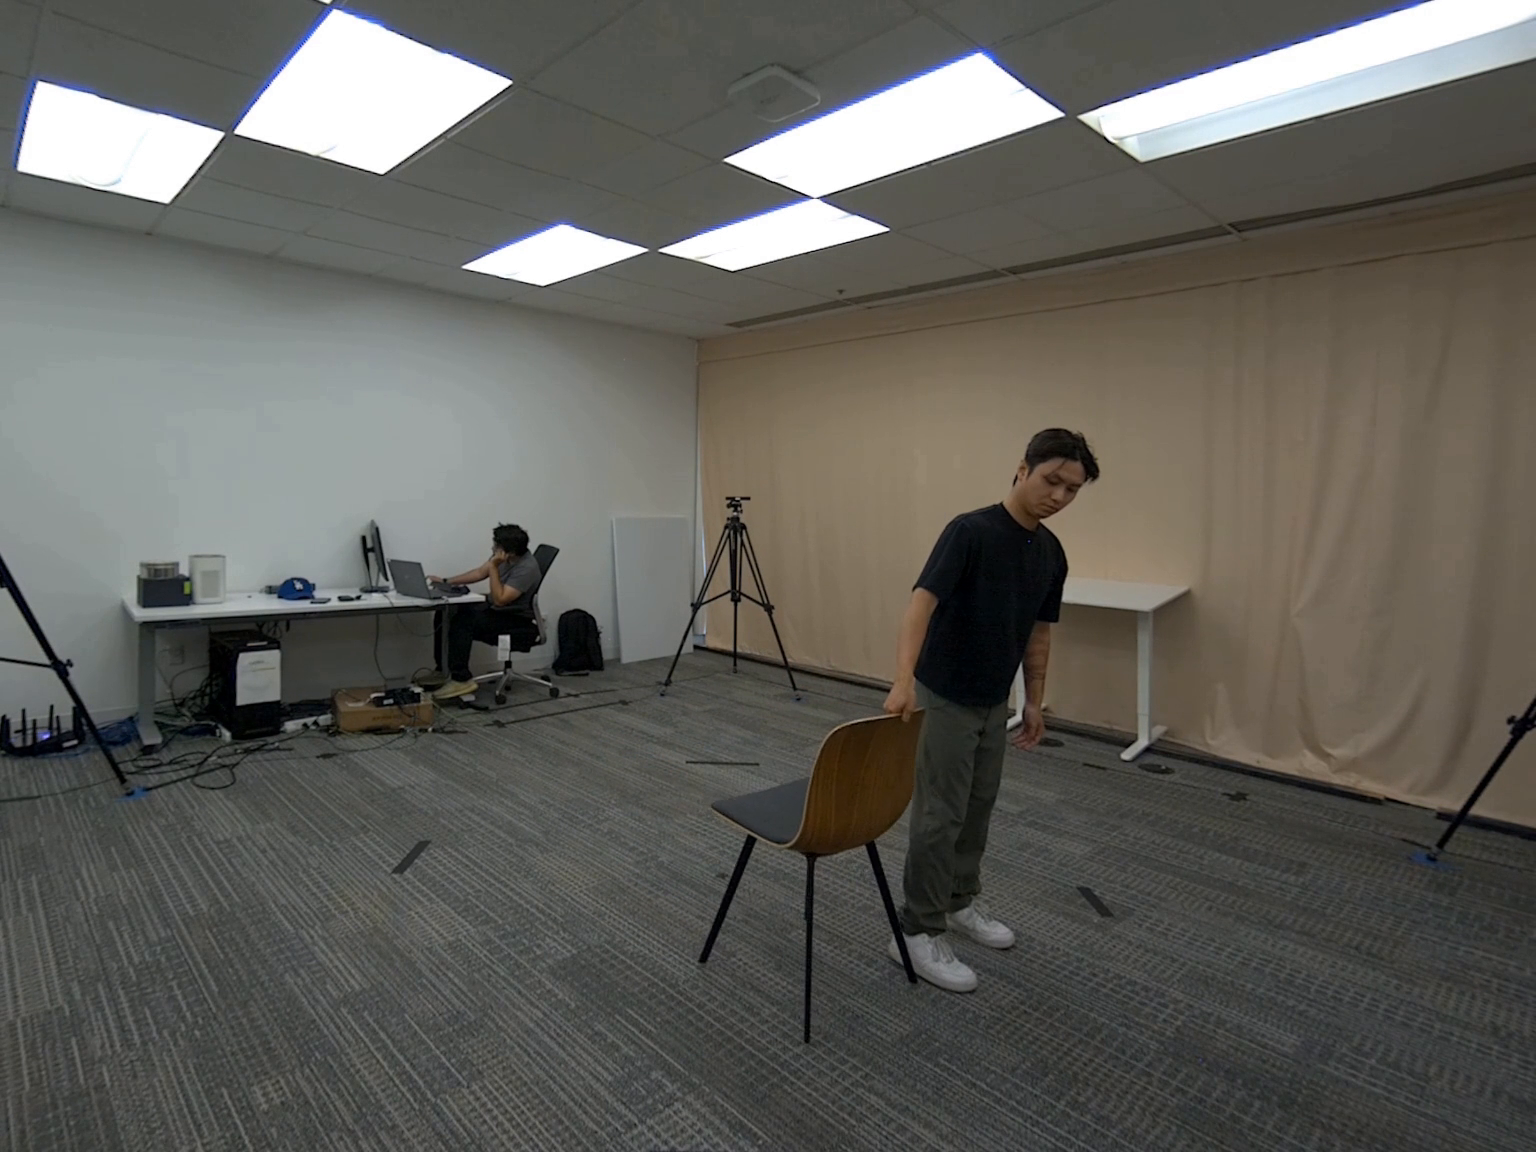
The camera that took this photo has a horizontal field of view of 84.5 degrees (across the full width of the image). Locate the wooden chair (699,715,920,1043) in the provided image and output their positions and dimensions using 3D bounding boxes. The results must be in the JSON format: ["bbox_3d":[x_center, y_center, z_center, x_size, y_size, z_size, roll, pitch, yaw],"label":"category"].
[{"bbox_3d":[0.122,0.740,2.430,0.467,0.873,0.538,-1,11,-42],"label":"wooden chair"}]
